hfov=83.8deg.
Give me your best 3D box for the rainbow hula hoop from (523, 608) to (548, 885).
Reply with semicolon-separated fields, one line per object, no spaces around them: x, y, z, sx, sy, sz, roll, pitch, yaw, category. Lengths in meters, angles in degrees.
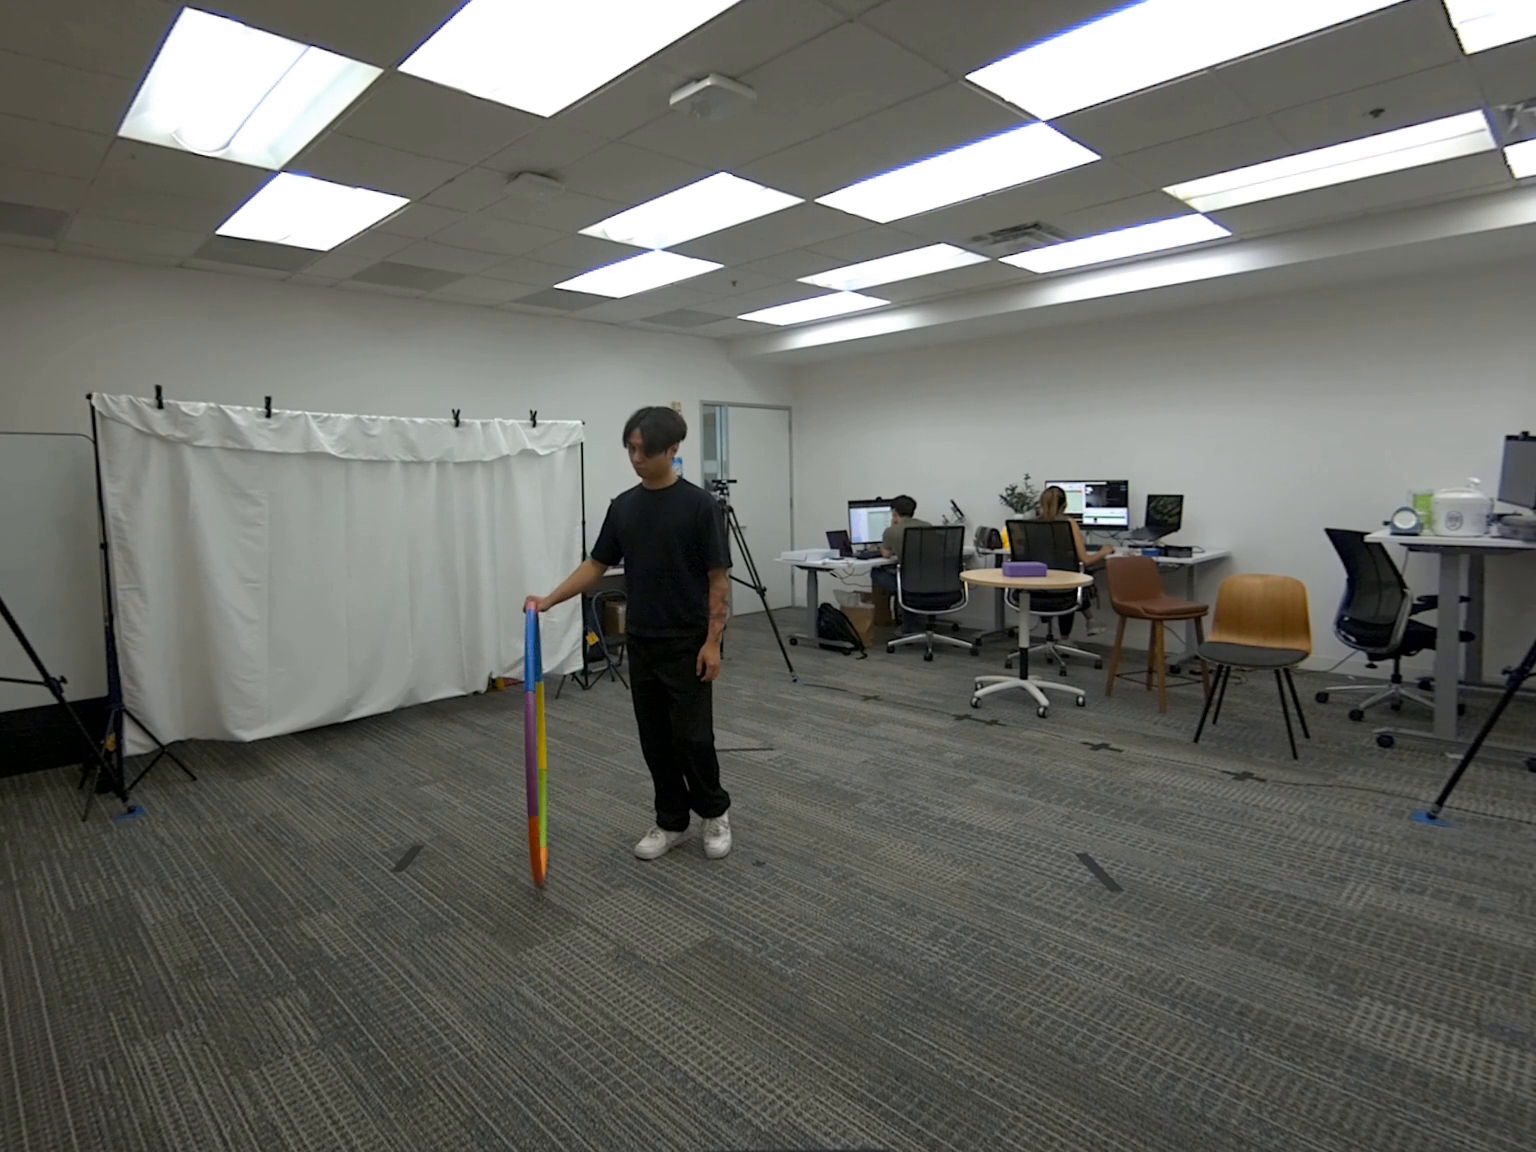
-0.825;0.581;3.072;0.035;0.975;0.993;-1;5;-13;rainbow hula hoop
